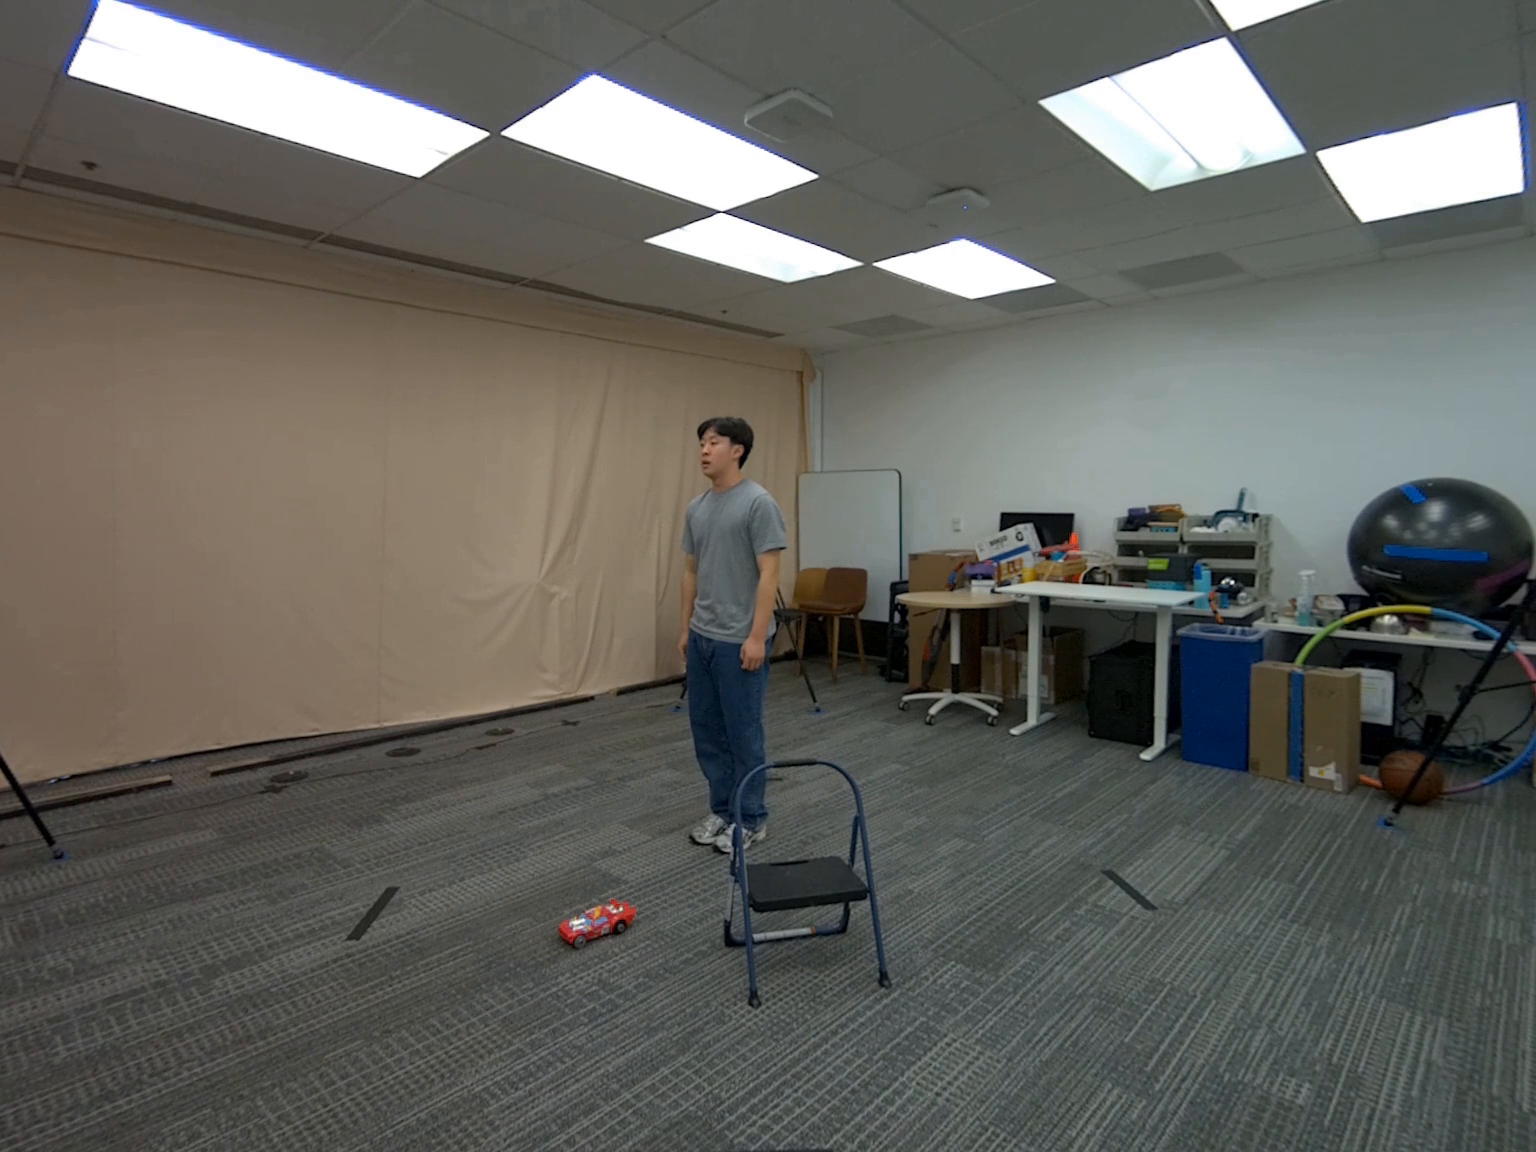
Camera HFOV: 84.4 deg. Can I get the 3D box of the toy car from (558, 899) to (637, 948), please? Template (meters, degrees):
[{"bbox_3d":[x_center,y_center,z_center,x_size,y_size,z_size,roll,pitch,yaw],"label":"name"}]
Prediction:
[{"bbox_3d":[-0.555,1.136,2.748,0.248,0.082,0.134,-17,13,-35],"label":"toy car"}]
